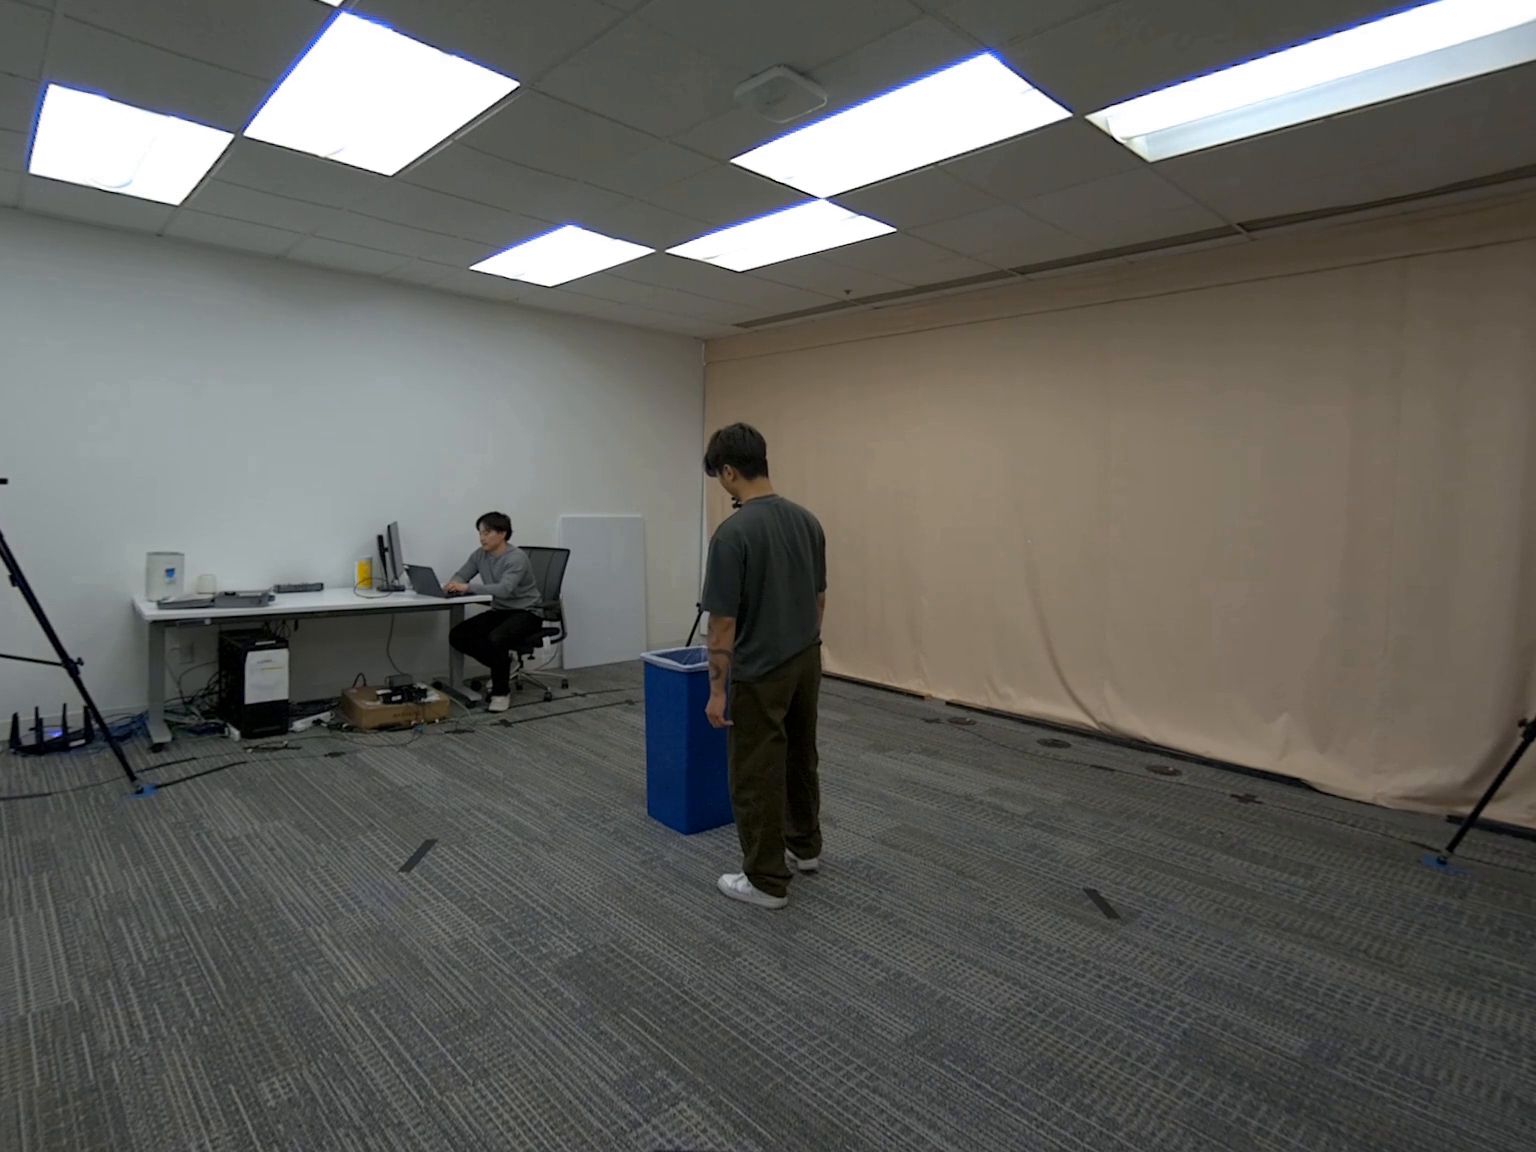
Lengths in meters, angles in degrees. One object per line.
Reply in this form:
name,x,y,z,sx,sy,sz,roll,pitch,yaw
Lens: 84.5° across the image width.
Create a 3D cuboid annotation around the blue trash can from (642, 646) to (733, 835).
blue trash can,-0.326,0.695,3.649,0.365,0.712,0.387,-1,4,-41
